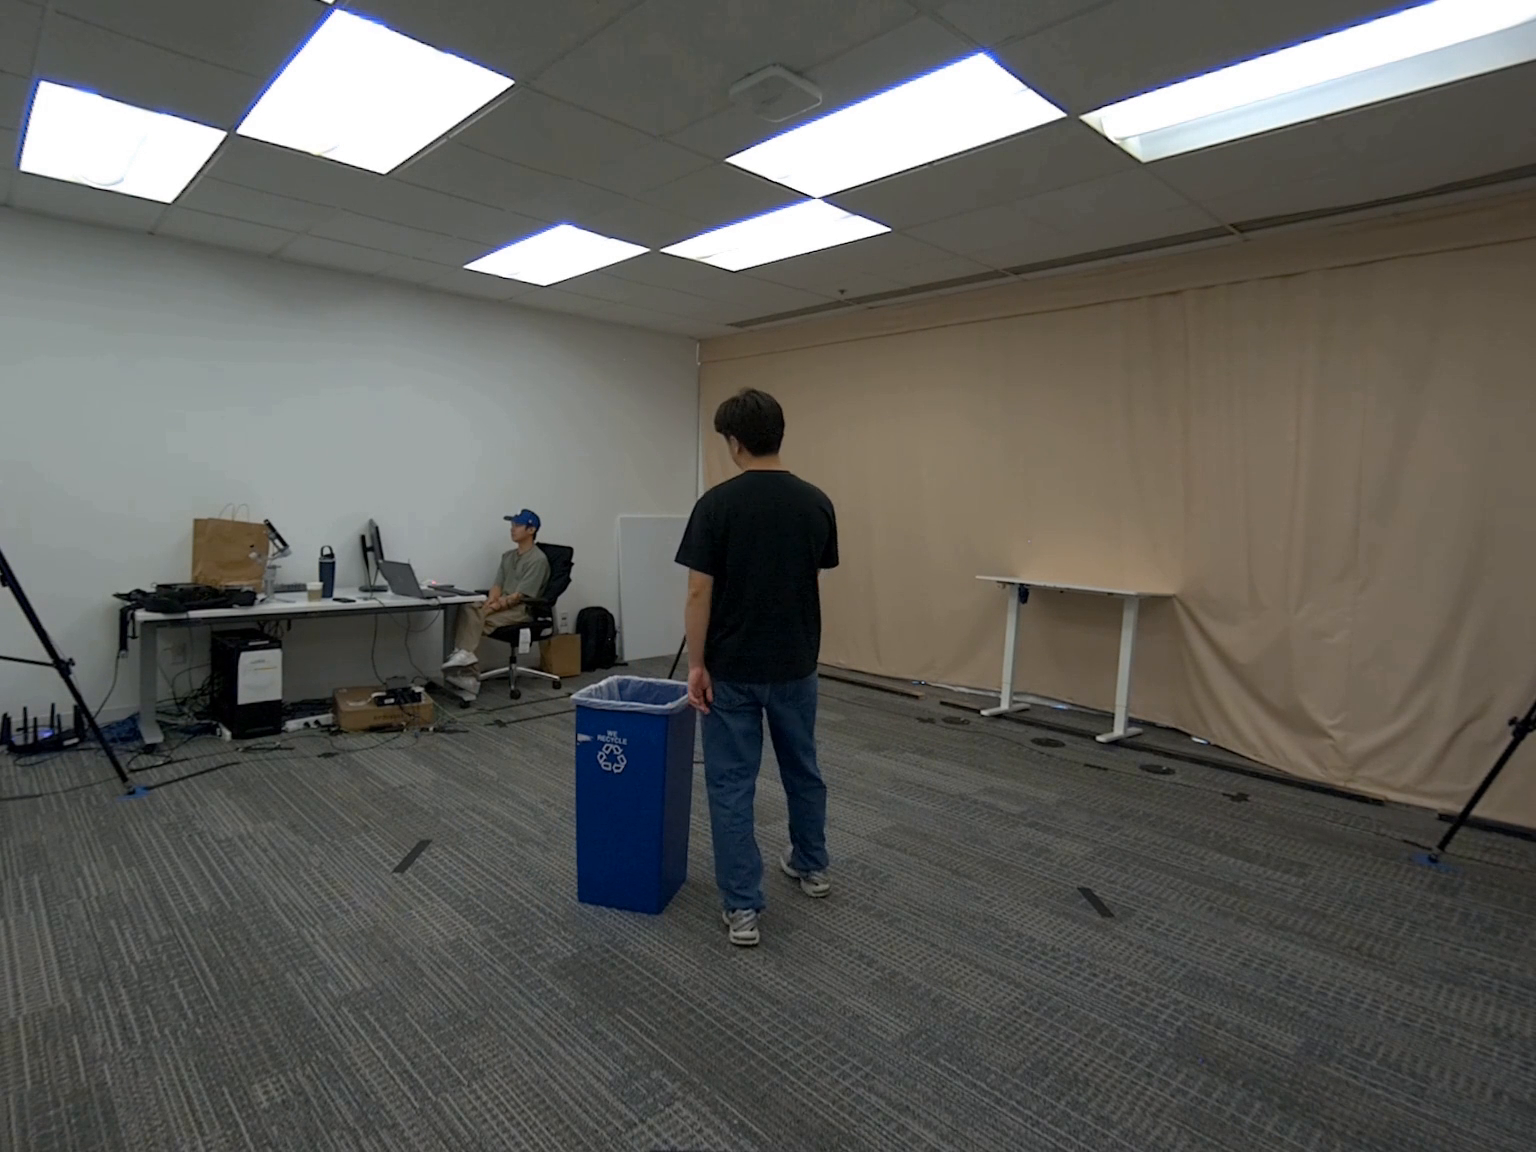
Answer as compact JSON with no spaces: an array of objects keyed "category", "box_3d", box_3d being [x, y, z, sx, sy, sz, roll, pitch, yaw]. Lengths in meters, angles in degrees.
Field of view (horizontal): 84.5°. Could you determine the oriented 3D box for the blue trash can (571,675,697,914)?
[{"category":"blue trash can","box_3d":[-0.474,0.755,2.957,0.379,0.712,0.374,4,4,15]}]
